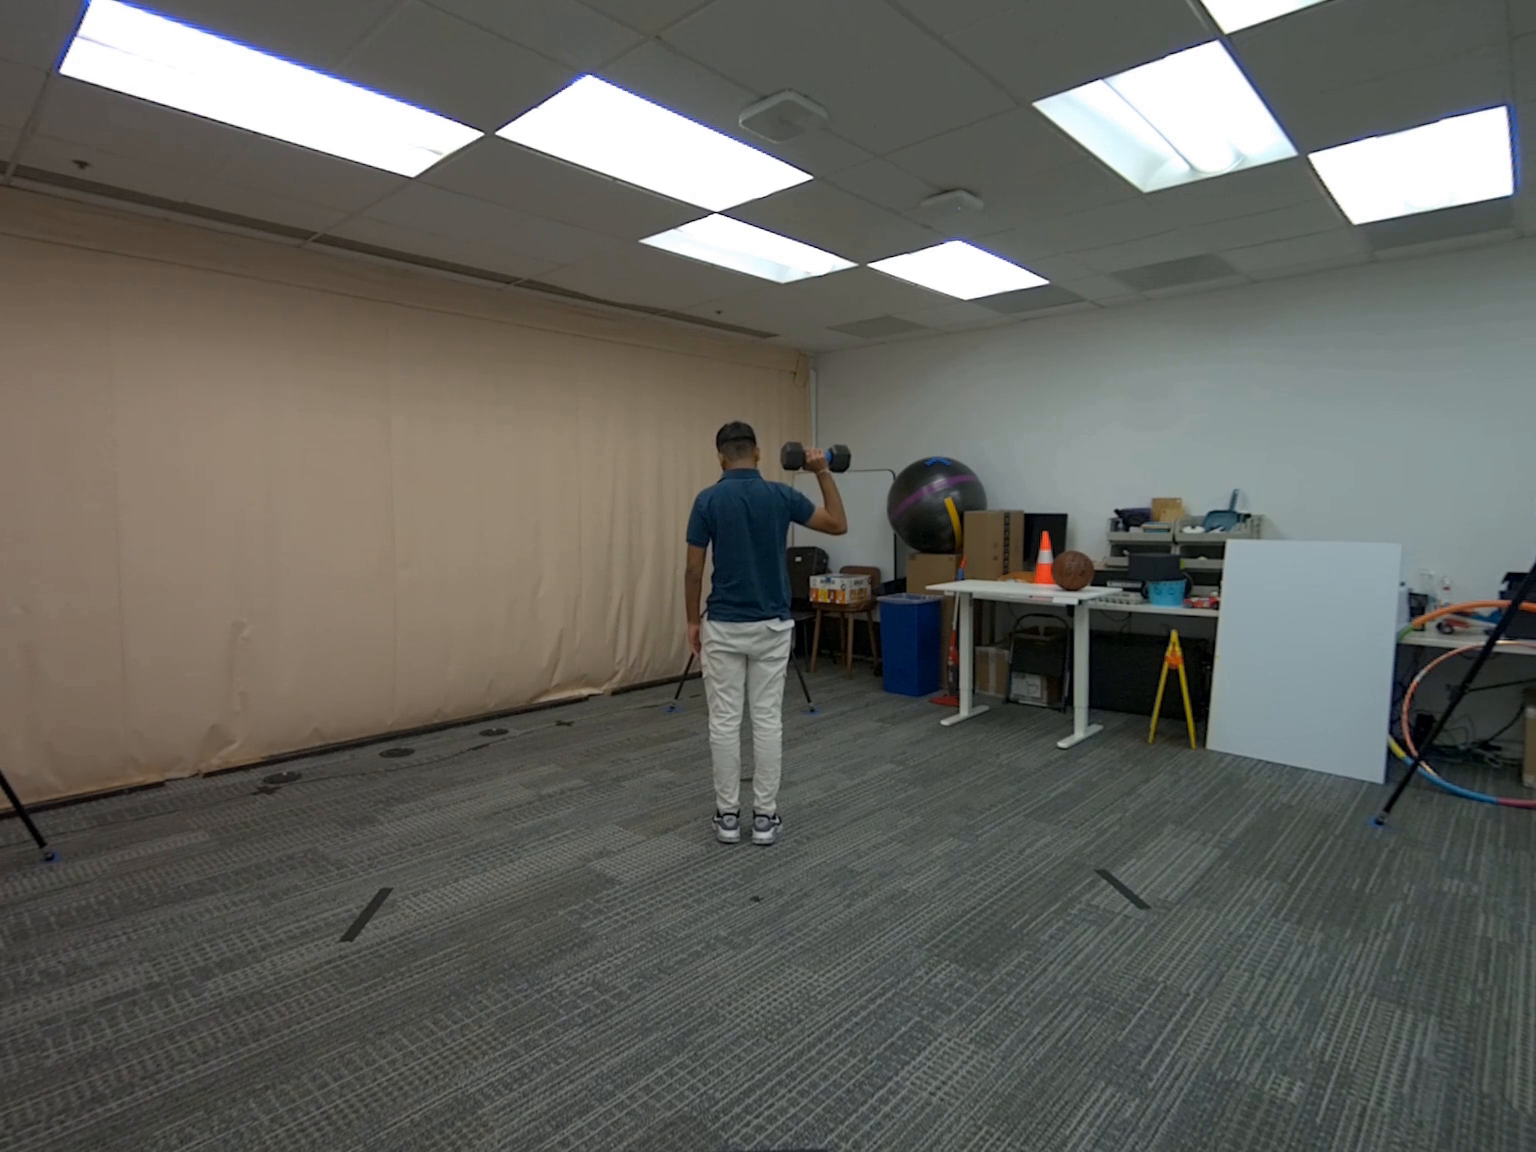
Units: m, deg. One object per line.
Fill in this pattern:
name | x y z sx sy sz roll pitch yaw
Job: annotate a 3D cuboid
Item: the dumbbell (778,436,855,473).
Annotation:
dumbbell | 0.203 -0.522 3.631 0.290 0.110 0.123 1 -15 -11
